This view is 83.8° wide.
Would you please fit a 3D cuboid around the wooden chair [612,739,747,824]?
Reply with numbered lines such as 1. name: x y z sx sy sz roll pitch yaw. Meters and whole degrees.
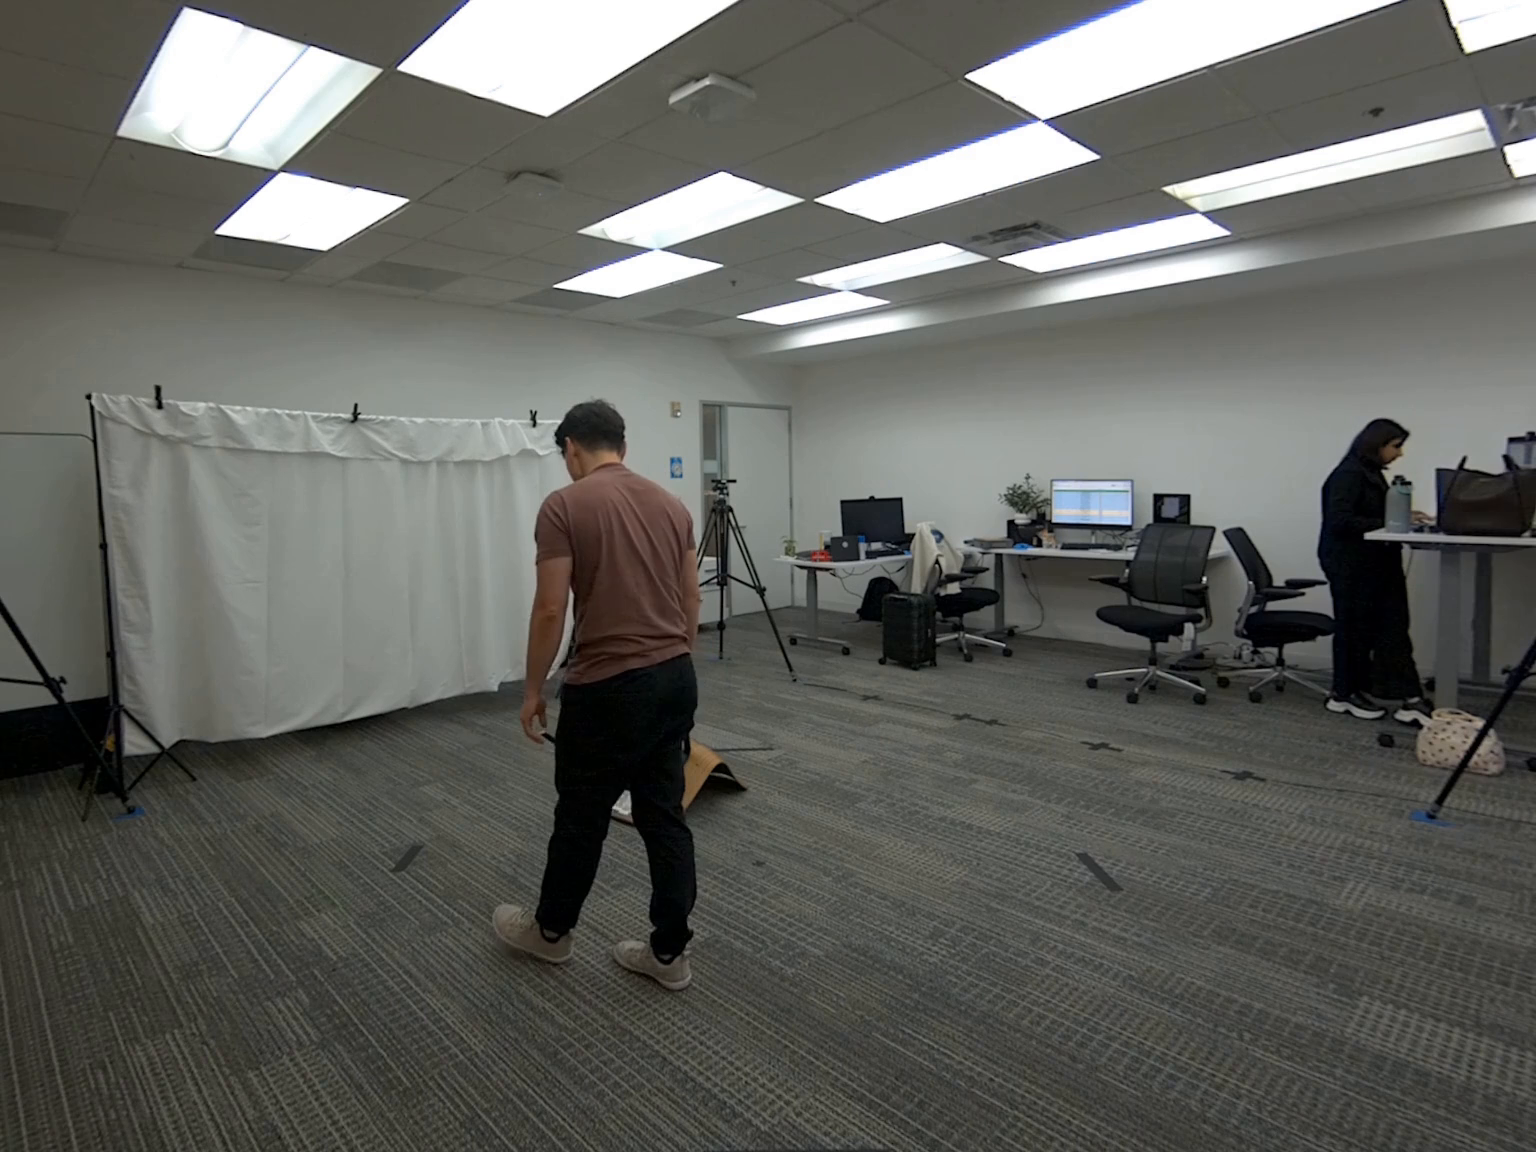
1. wooden chair: -0.483 0.825 3.650 0.492 0.847 0.526 2 46 38
